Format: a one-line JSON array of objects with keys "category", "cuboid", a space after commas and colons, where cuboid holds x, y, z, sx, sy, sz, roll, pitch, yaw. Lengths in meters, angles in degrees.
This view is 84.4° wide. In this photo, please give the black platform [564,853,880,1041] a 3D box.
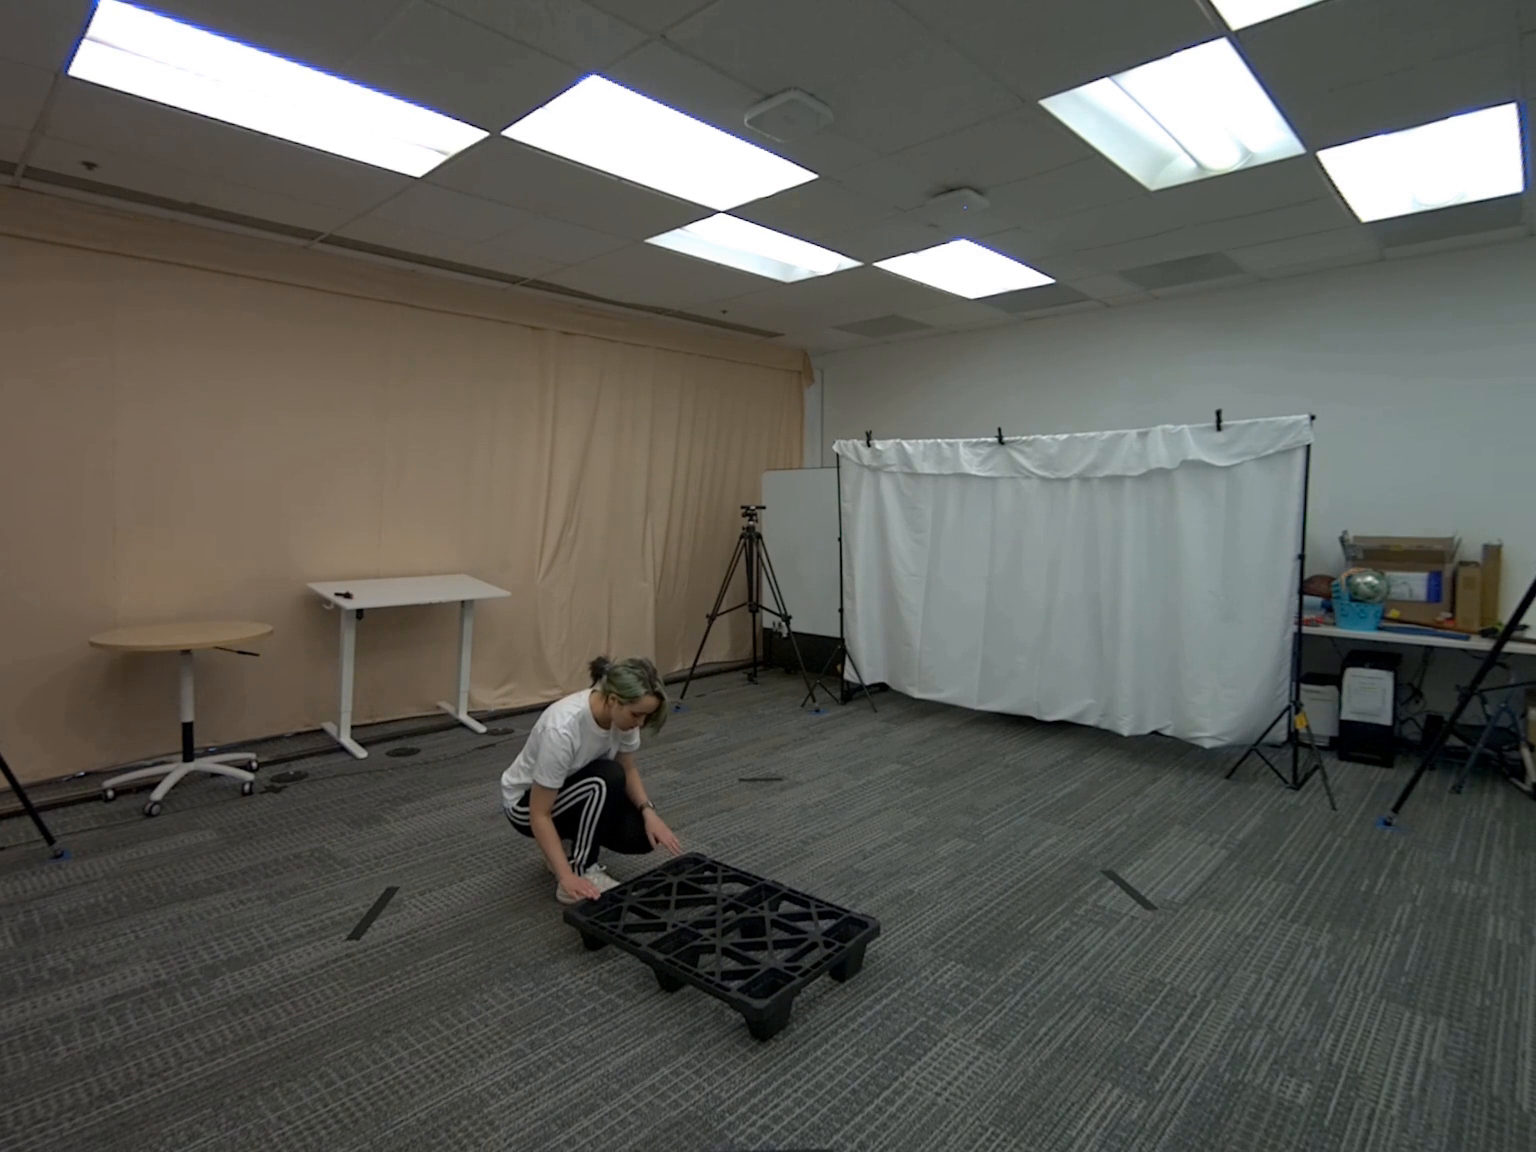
[{"category": "black platform", "cuboid": [-0.147, 1.111, 2.596, 0.832, 0.143, 0.587, 4, 5, 40]}]
